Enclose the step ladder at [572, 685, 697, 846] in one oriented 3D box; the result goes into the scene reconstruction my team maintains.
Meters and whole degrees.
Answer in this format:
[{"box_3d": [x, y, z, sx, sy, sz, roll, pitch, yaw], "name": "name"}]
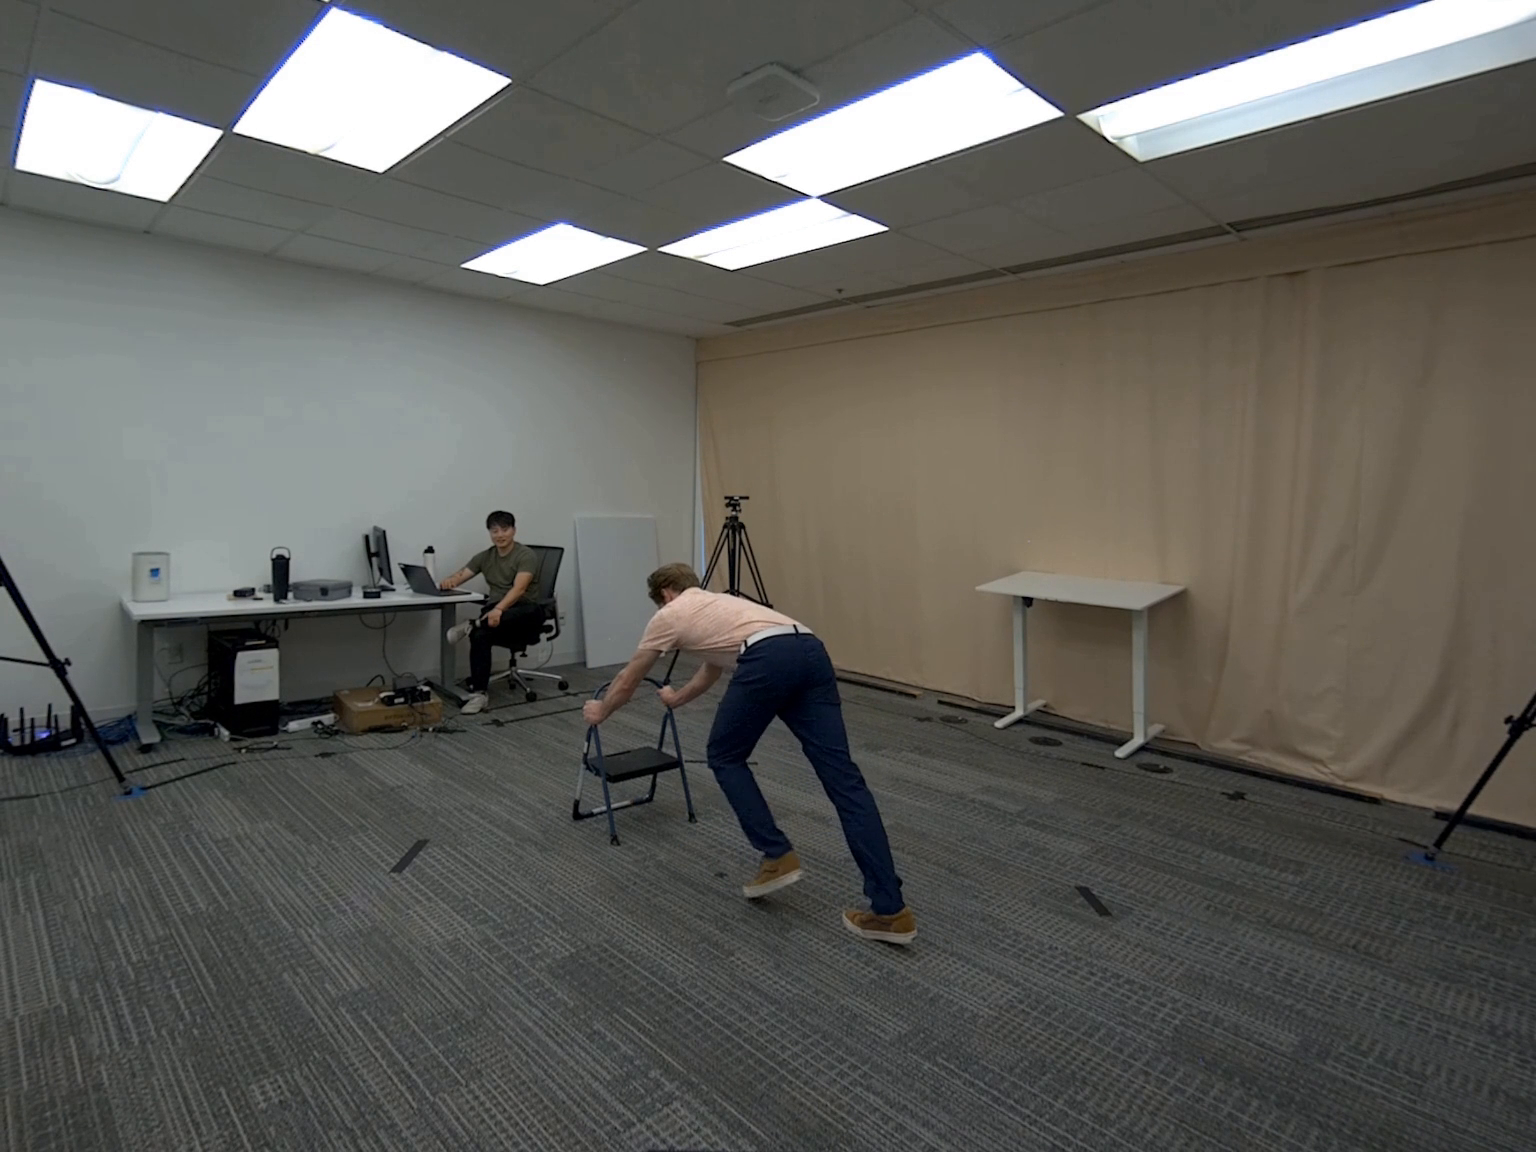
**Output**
[{"box_3d": [-0.573, 0.751, 3.592, 0.421, 0.605, 0.358, -1, 5, -43], "name": "step ladder"}]
